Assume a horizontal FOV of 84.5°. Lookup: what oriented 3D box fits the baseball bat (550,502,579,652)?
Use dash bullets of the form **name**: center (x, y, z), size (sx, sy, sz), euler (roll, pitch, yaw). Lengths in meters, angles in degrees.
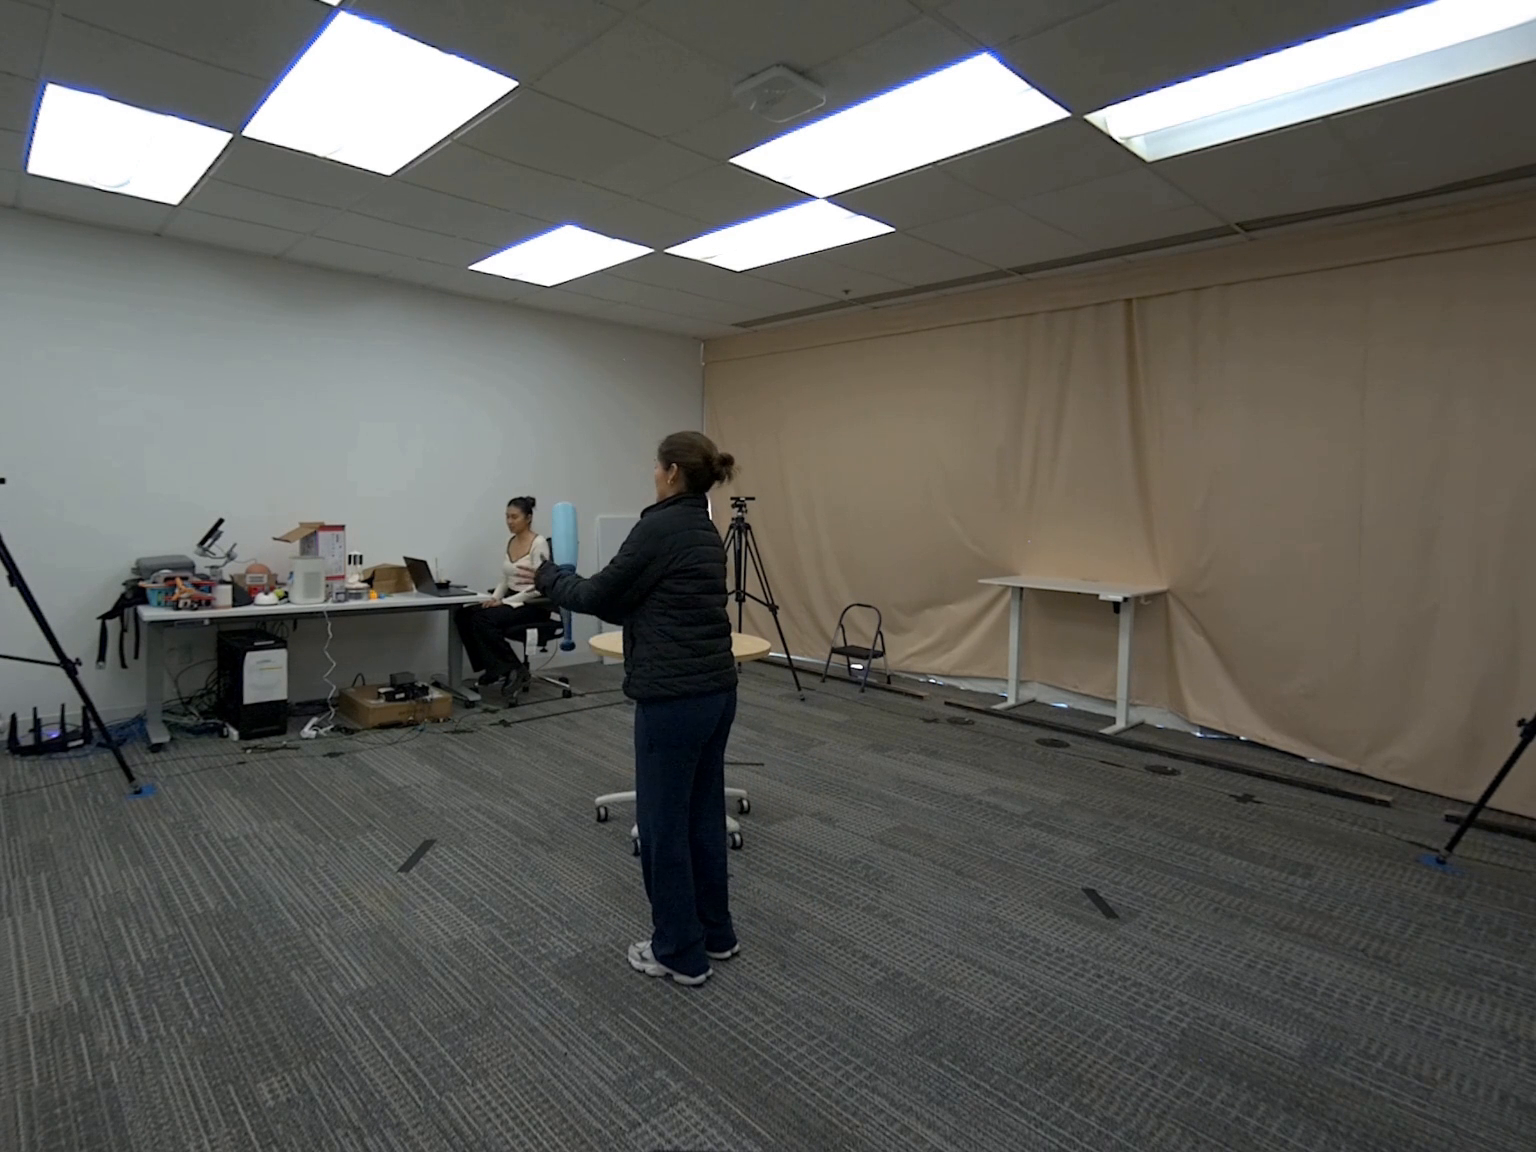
- **baseball bat**: center (-0.697, -0.007, 2.813), size (0.089, 0.555, 0.087), euler (-6, -28, -5)
